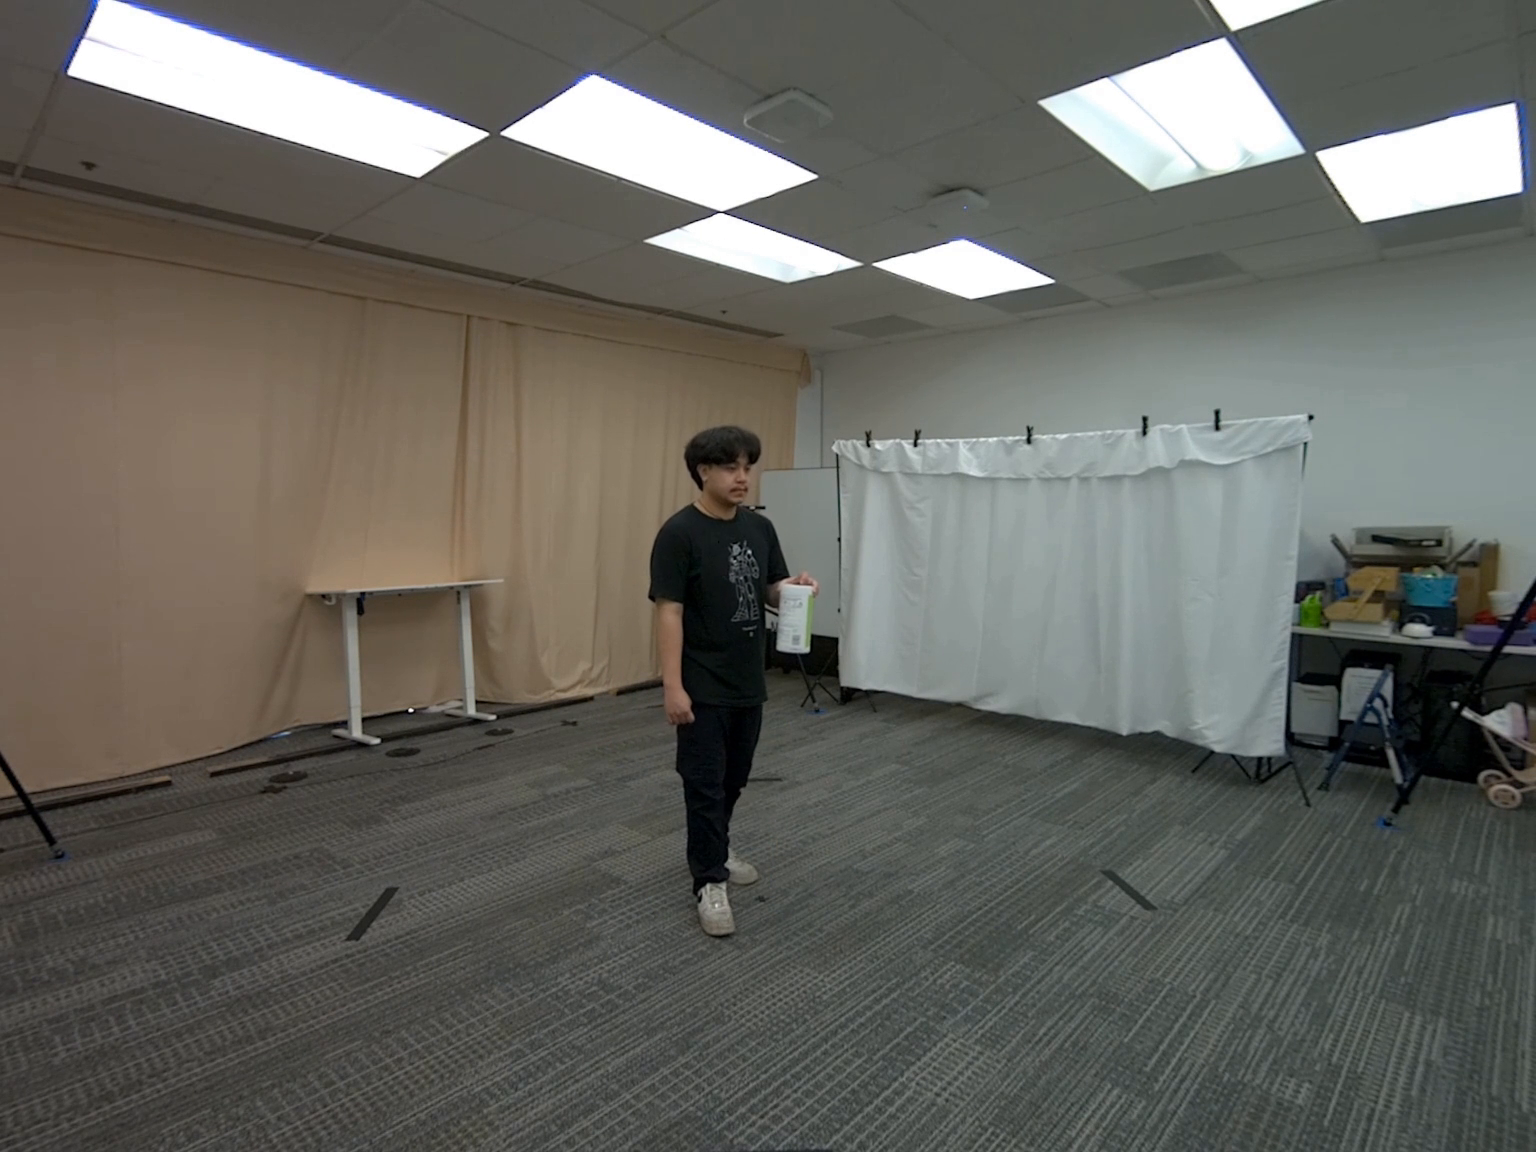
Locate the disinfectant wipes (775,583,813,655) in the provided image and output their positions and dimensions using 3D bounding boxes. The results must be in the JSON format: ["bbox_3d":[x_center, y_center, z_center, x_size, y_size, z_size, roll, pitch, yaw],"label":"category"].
[{"bbox_3d":[0.093,0.138,2.704,0.117,0.217,0.118,3,3,-2],"label":"disinfectant wipes"}]
